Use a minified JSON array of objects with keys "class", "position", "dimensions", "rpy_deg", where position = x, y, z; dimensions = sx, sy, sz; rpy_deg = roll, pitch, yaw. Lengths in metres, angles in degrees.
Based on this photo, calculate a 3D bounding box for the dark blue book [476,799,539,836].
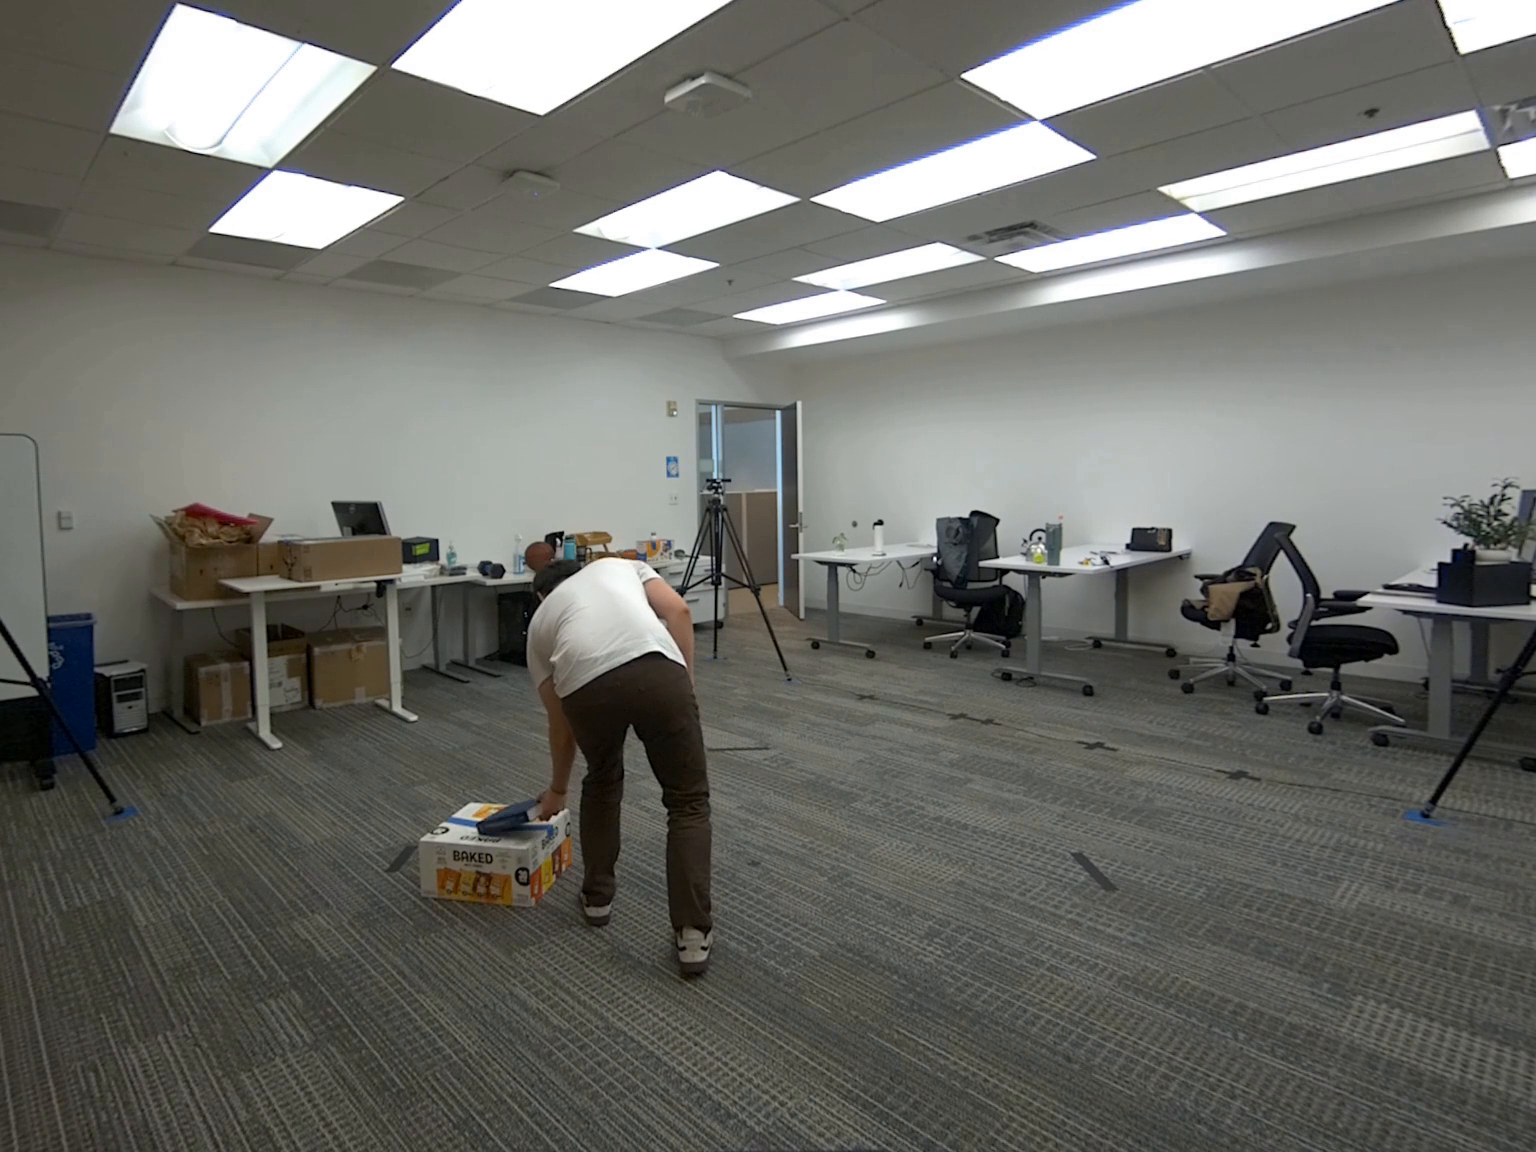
[{"class":"dark blue book","position":[-0.874,0.832,2.960],"dimensions":[0.248,0.045,0.161],"rpy_deg":[-21,-1,26]}]
